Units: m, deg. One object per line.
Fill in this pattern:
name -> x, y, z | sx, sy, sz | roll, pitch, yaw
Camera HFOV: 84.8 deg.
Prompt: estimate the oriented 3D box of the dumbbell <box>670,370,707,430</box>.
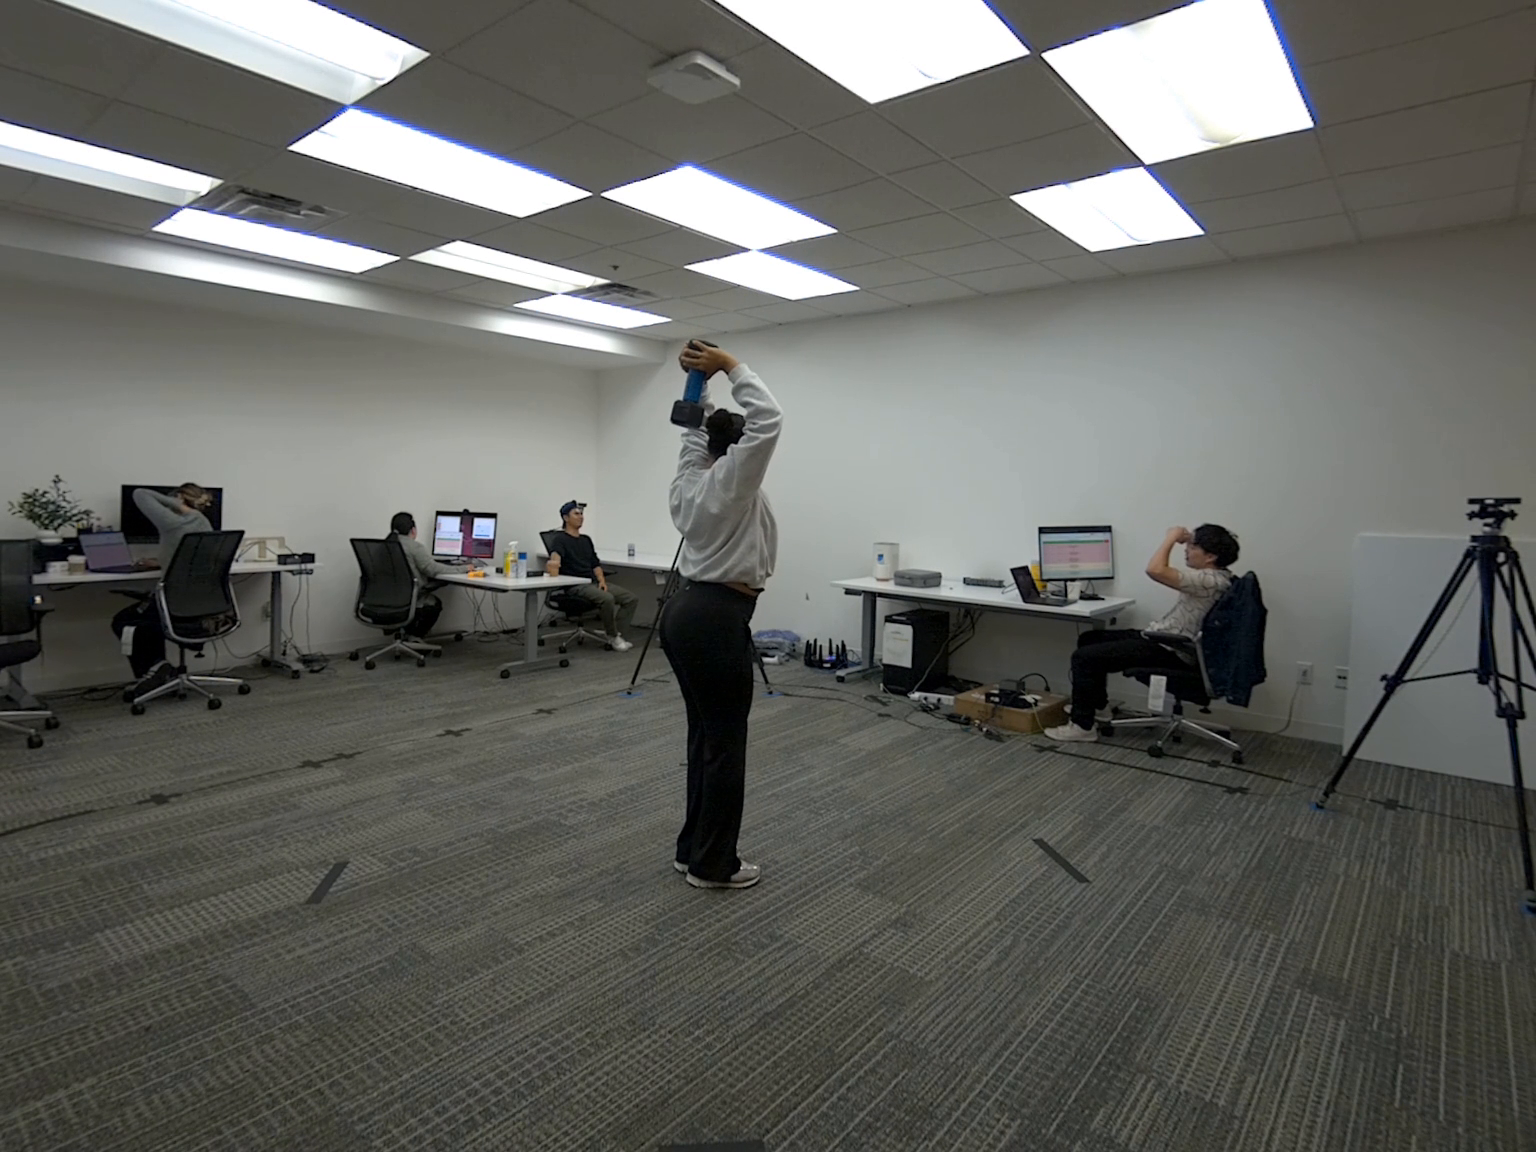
dumbbell -> -0.267, -0.659, 2.916 | 0.126, 0.294, 0.106 | 13, -1, 20
